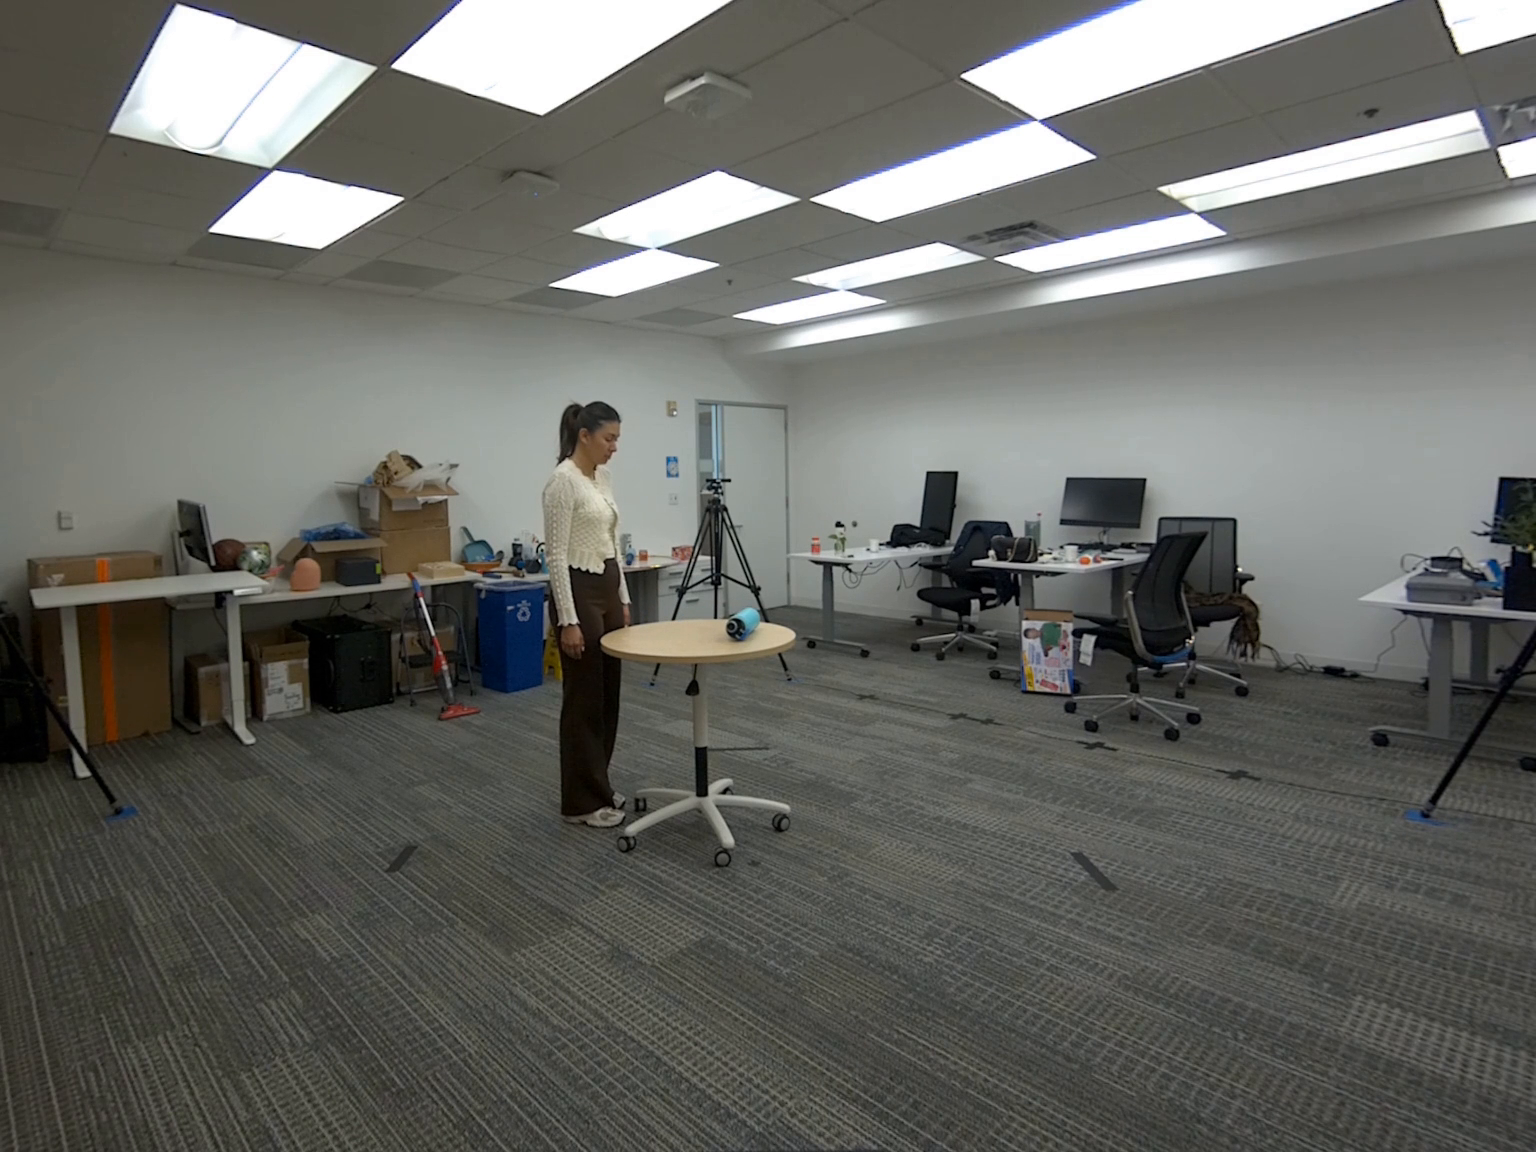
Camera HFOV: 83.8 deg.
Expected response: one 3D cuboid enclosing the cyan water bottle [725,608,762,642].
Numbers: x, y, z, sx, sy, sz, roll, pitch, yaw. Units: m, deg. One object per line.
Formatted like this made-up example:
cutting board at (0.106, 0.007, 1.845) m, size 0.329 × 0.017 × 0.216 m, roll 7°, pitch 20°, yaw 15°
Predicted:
cyan water bottle at (-0.105, 0.187, 3.336) m, size 0.093 × 0.092 × 0.282 m, roll 0°, pitch 5°, yaw 8°
